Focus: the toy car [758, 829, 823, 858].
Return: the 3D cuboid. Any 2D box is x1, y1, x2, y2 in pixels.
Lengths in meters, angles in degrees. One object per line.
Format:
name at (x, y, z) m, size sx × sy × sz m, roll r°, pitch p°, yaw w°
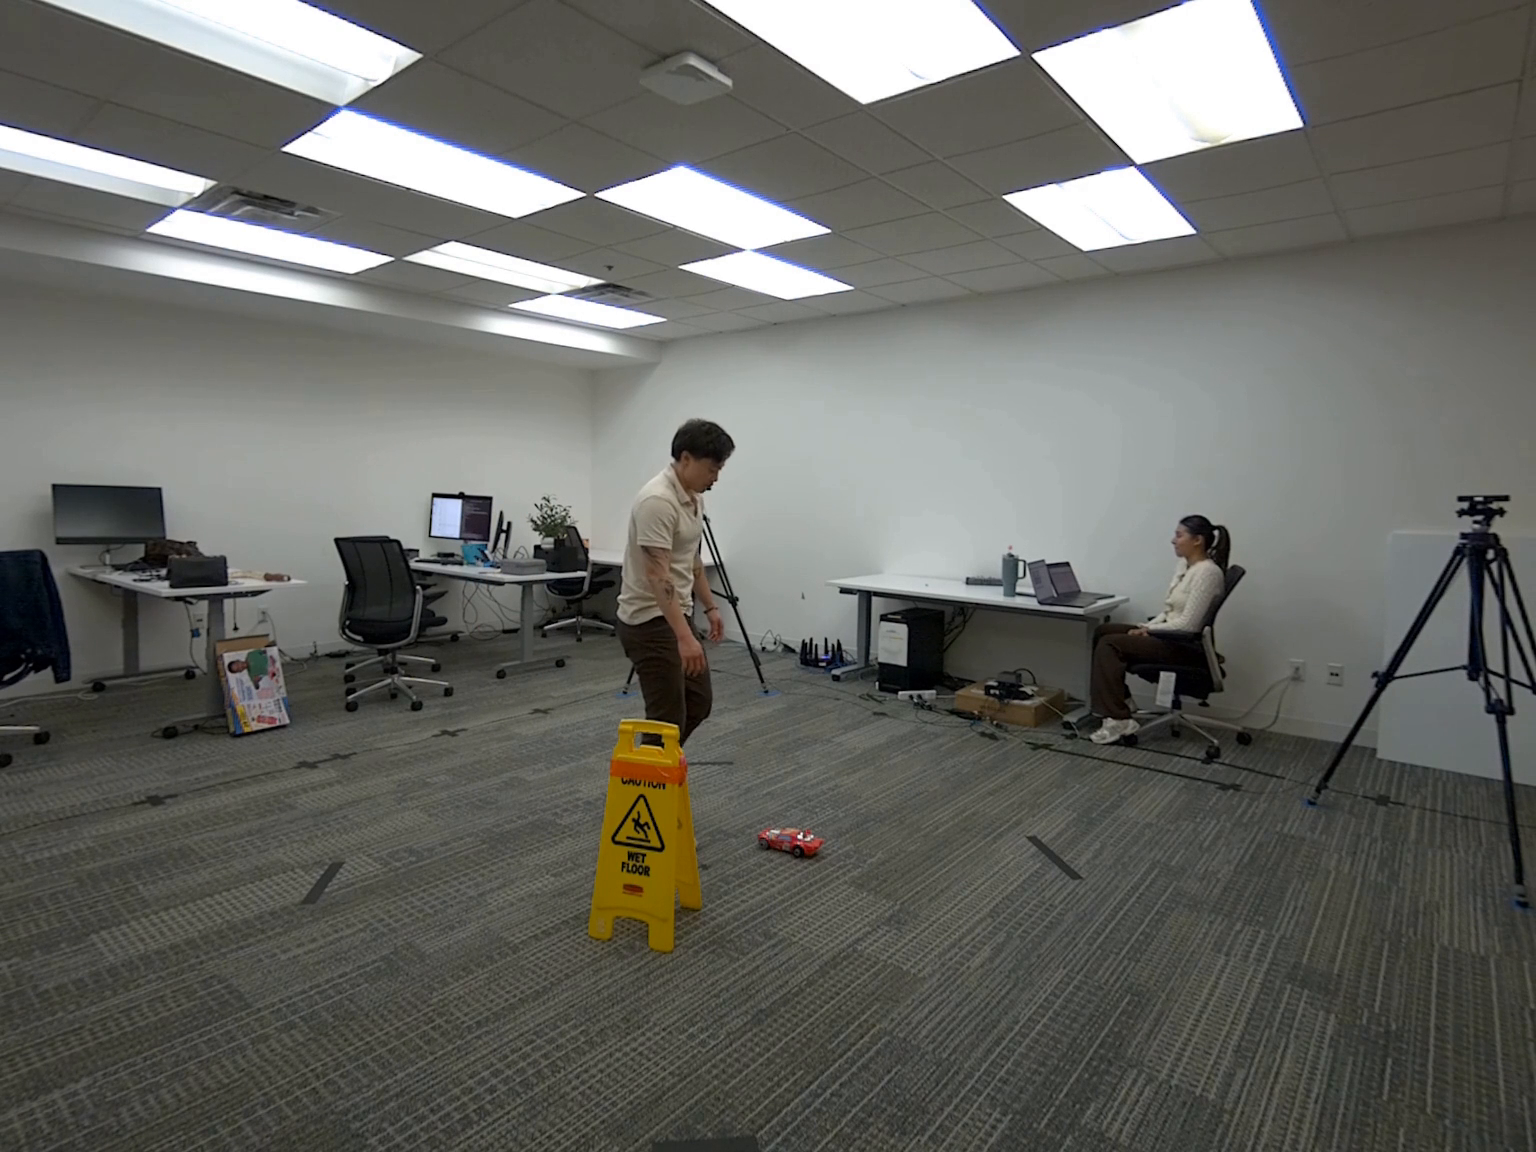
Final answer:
toy car at (0.085, 1.022, 3.278) m, size 0.260 × 0.083 × 0.127 m, roll -8°, pitch -1°, yaw 30°
